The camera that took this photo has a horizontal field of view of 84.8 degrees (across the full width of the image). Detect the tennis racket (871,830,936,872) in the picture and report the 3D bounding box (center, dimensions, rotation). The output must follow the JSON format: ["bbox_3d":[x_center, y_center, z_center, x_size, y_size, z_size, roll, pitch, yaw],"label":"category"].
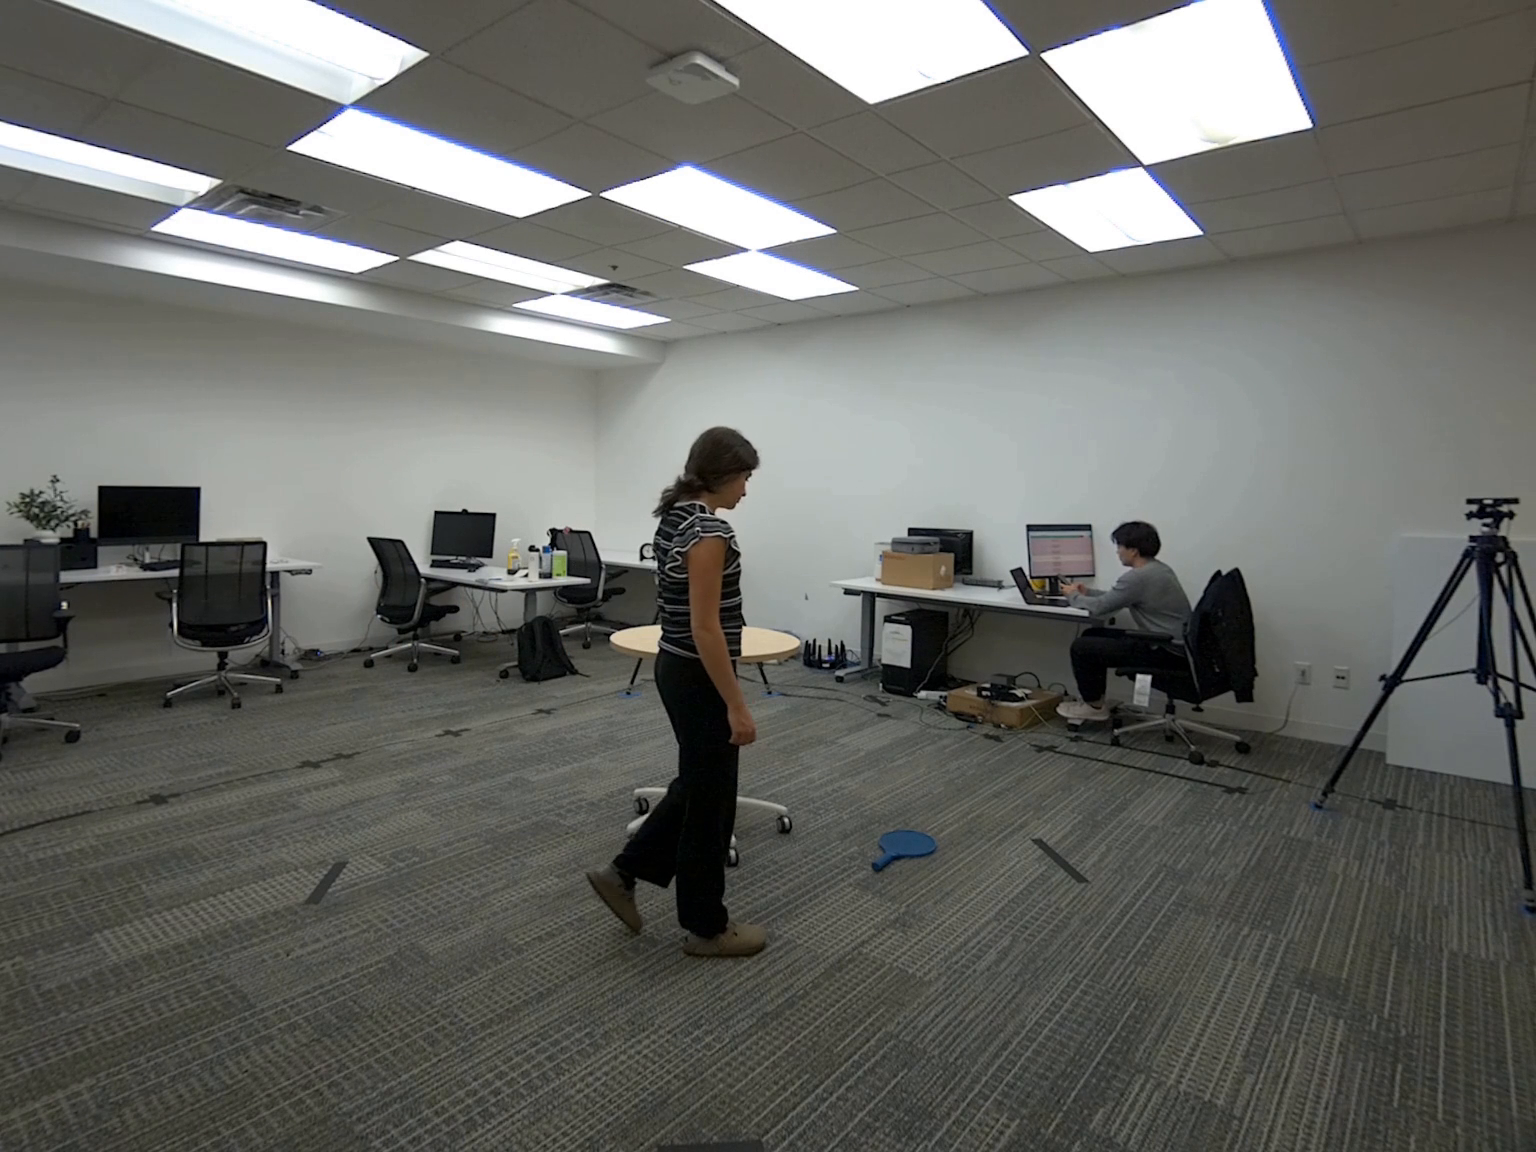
[{"bbox_3d":[0.502,1.053,3.292,0.220,0.031,0.421,5,6,31],"label":"tennis racket"}]
